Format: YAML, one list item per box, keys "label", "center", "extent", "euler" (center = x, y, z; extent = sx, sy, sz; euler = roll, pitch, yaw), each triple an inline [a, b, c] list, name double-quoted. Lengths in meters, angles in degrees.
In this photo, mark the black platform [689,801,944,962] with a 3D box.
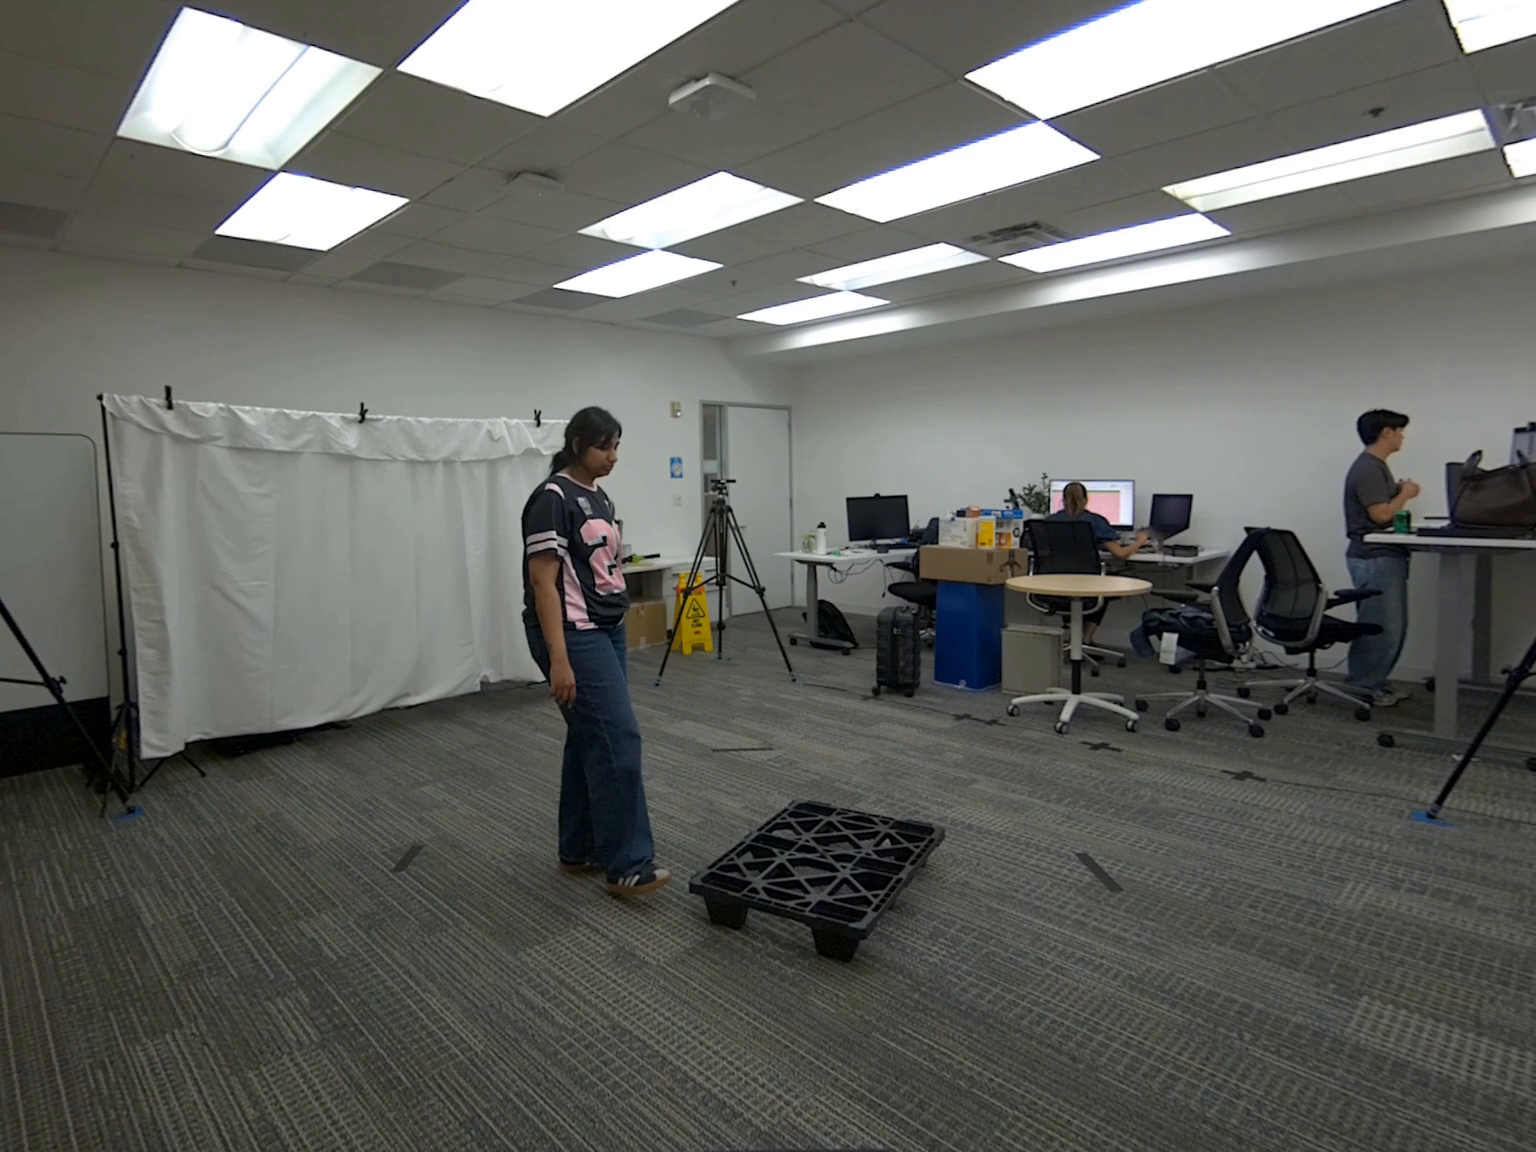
- label: "black platform"
  center: [0.191, 0.998, 2.888]
  extent: [0.621, 0.143, 0.788]
  euler: [2, 7, 29]
